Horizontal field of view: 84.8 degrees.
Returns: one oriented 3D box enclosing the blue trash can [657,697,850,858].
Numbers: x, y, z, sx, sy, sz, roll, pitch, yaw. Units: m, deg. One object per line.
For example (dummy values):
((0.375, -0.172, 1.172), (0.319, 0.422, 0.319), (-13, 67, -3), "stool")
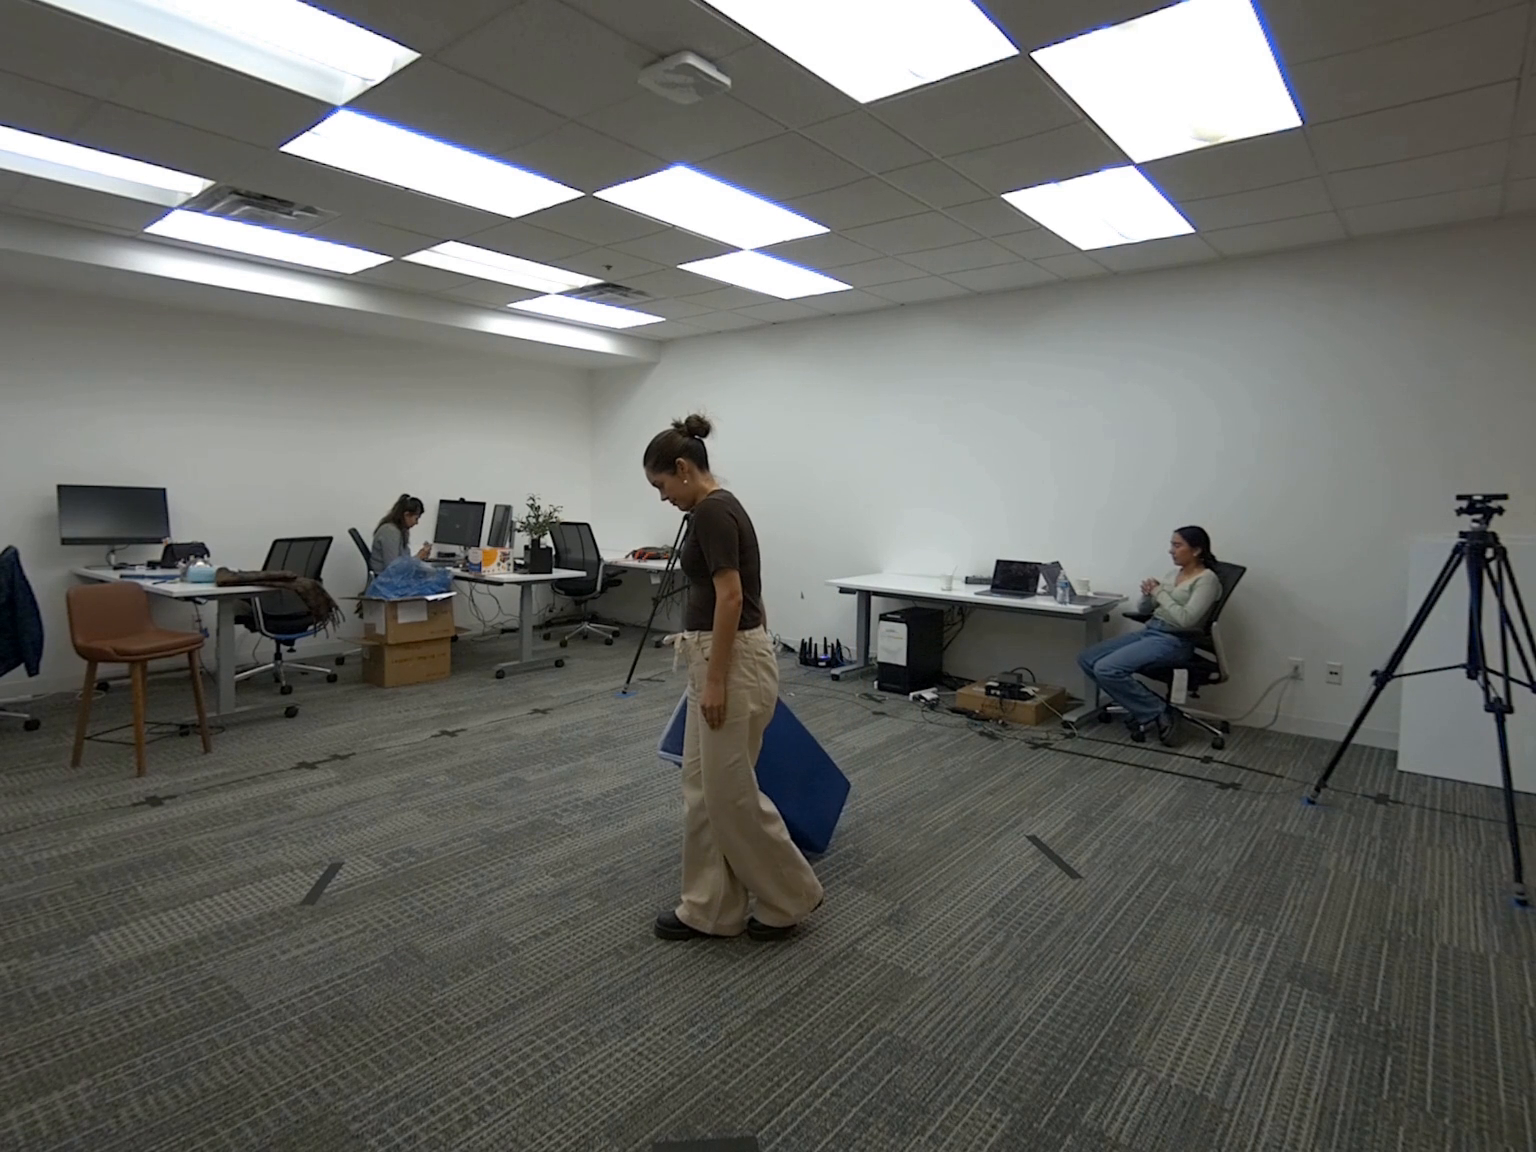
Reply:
((-0.029, 0.711, 3.173), (0.390, 0.377, 0.686), (-1, -42, 42), "blue trash can")
